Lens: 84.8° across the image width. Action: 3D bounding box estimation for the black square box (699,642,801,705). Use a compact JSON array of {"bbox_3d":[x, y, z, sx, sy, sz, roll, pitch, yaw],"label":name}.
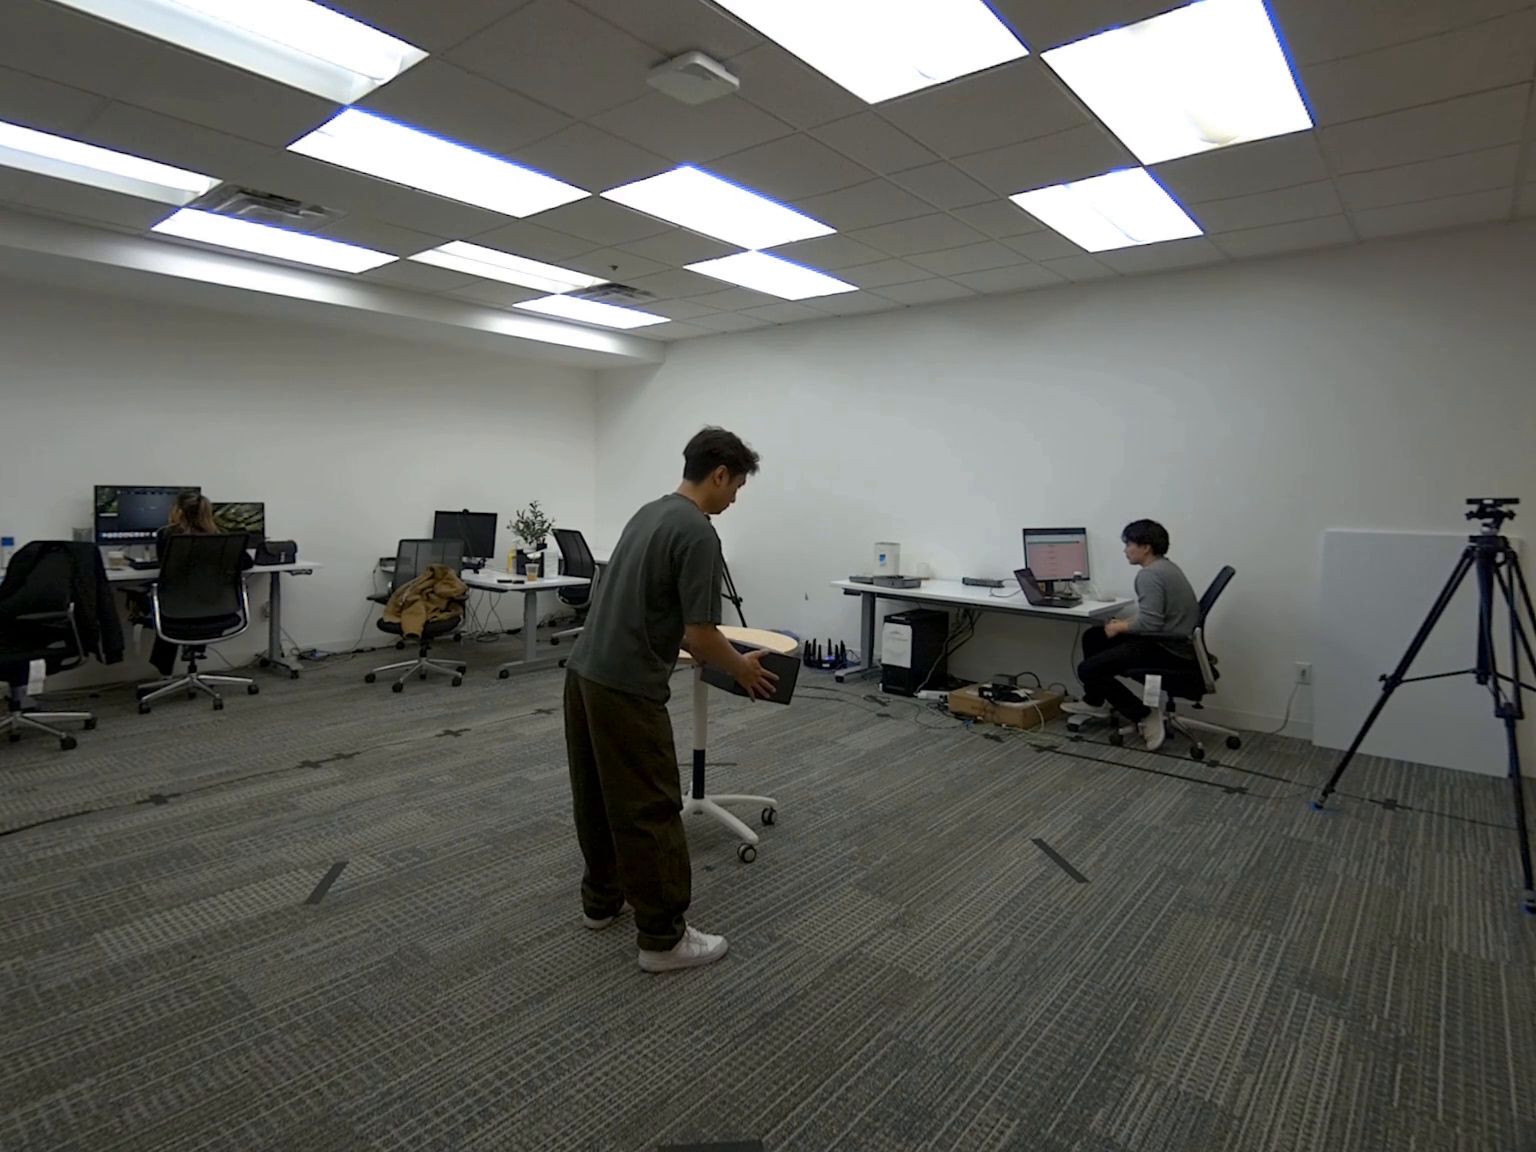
[{"bbox_3d":[-0.062,0.301,2.763,0.220,0.156,0.224,16,-4,-34],"label":"black square box"}]
